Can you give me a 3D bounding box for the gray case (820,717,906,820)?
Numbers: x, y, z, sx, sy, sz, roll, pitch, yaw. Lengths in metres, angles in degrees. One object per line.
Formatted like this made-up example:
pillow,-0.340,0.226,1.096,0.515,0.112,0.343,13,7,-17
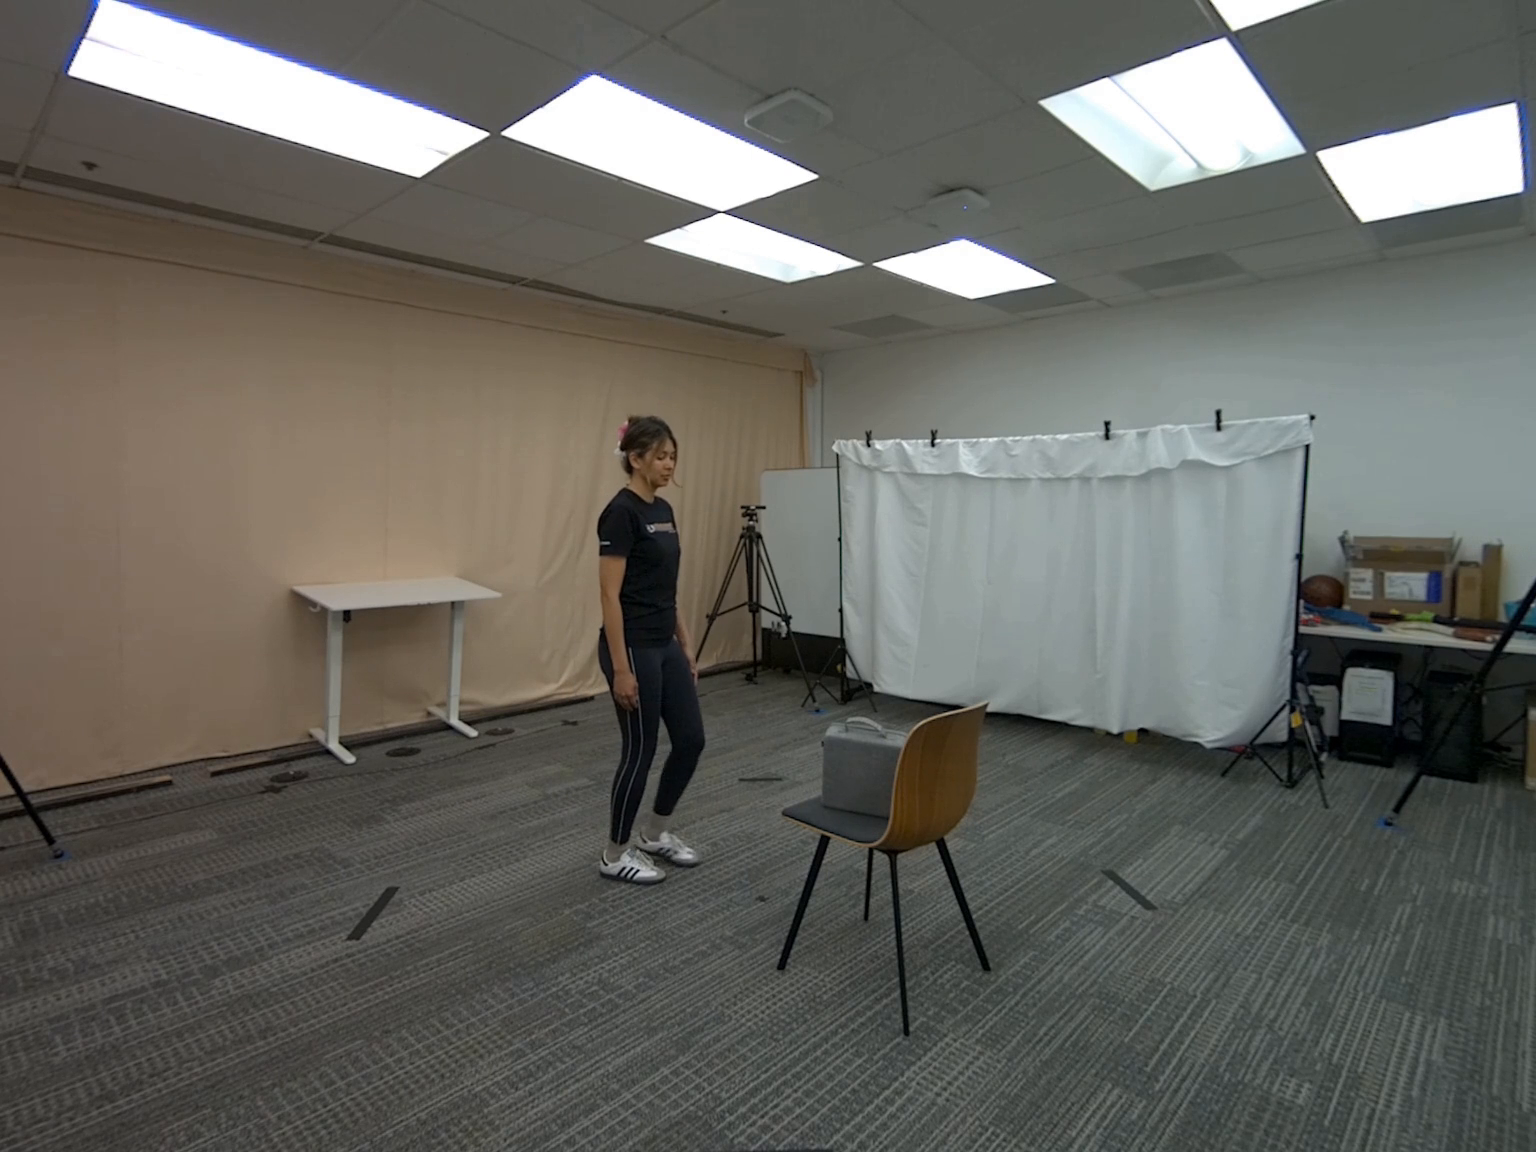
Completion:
gray case,0.306,0.577,2.509,0.262,0.259,0.103,4,12,19
